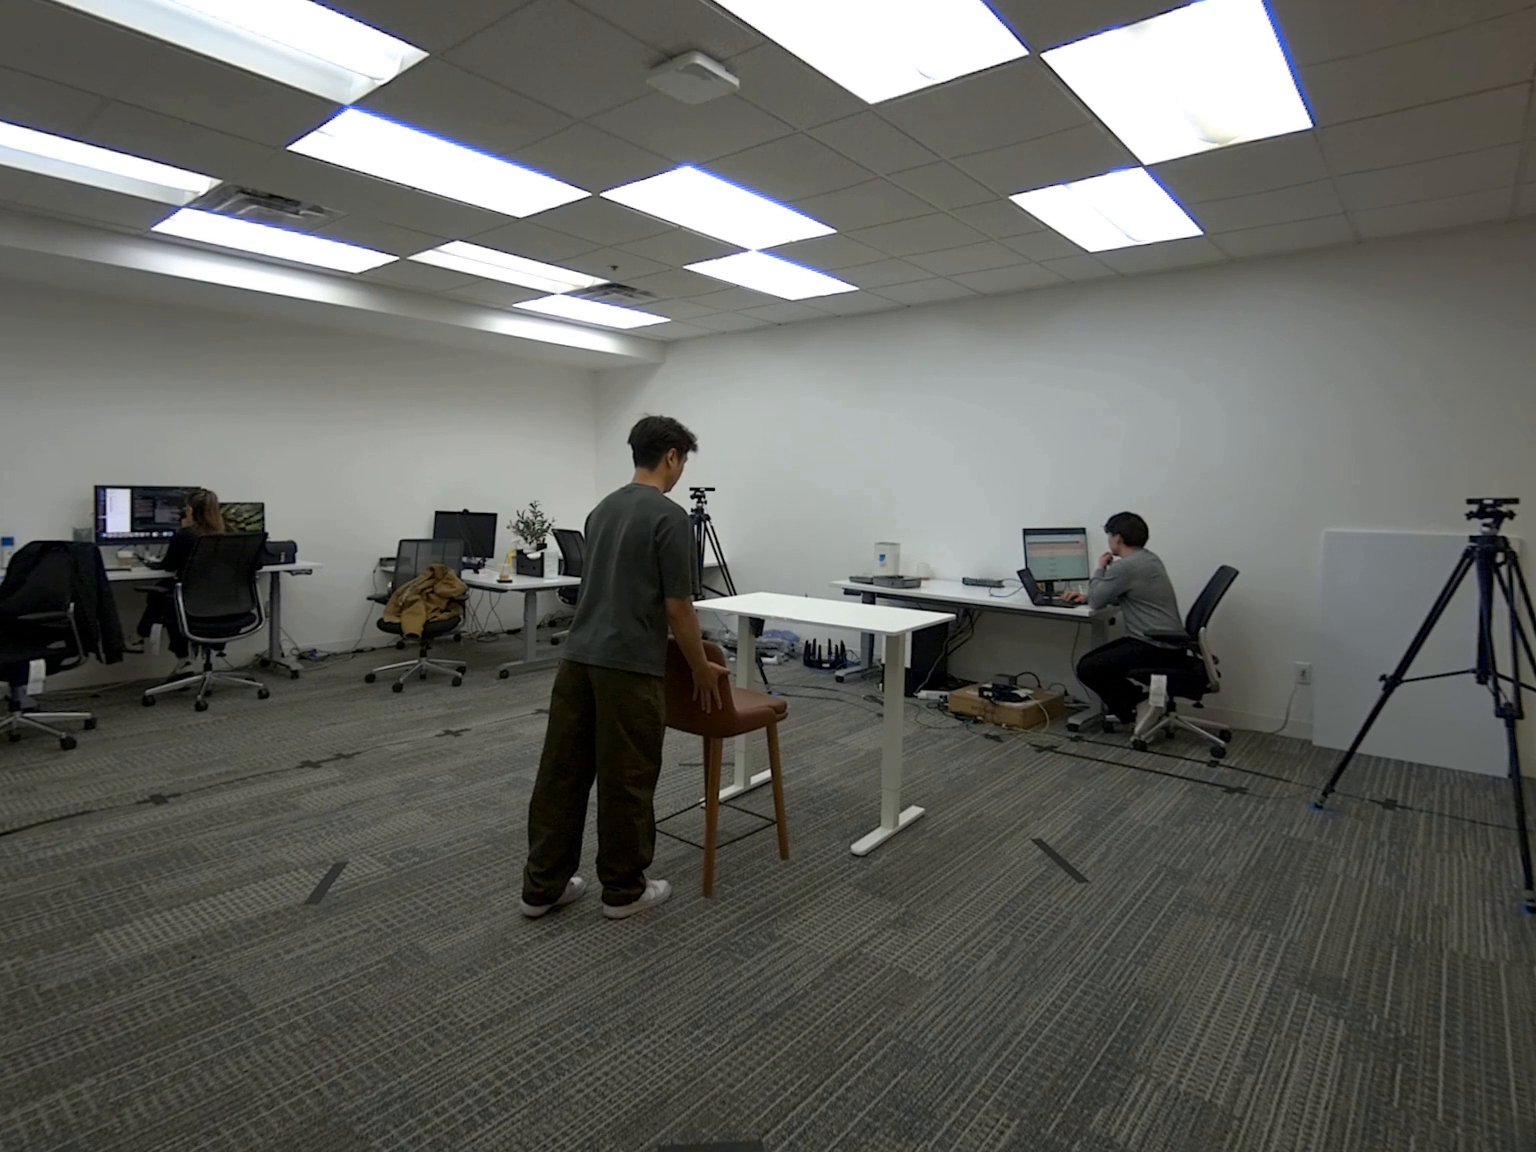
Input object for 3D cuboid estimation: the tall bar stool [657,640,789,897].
[{"bbox_3d":[-0.219,0.623,3.149,0.472,0.886,0.454,4,6,39],"label":"tall bar stool"}]
